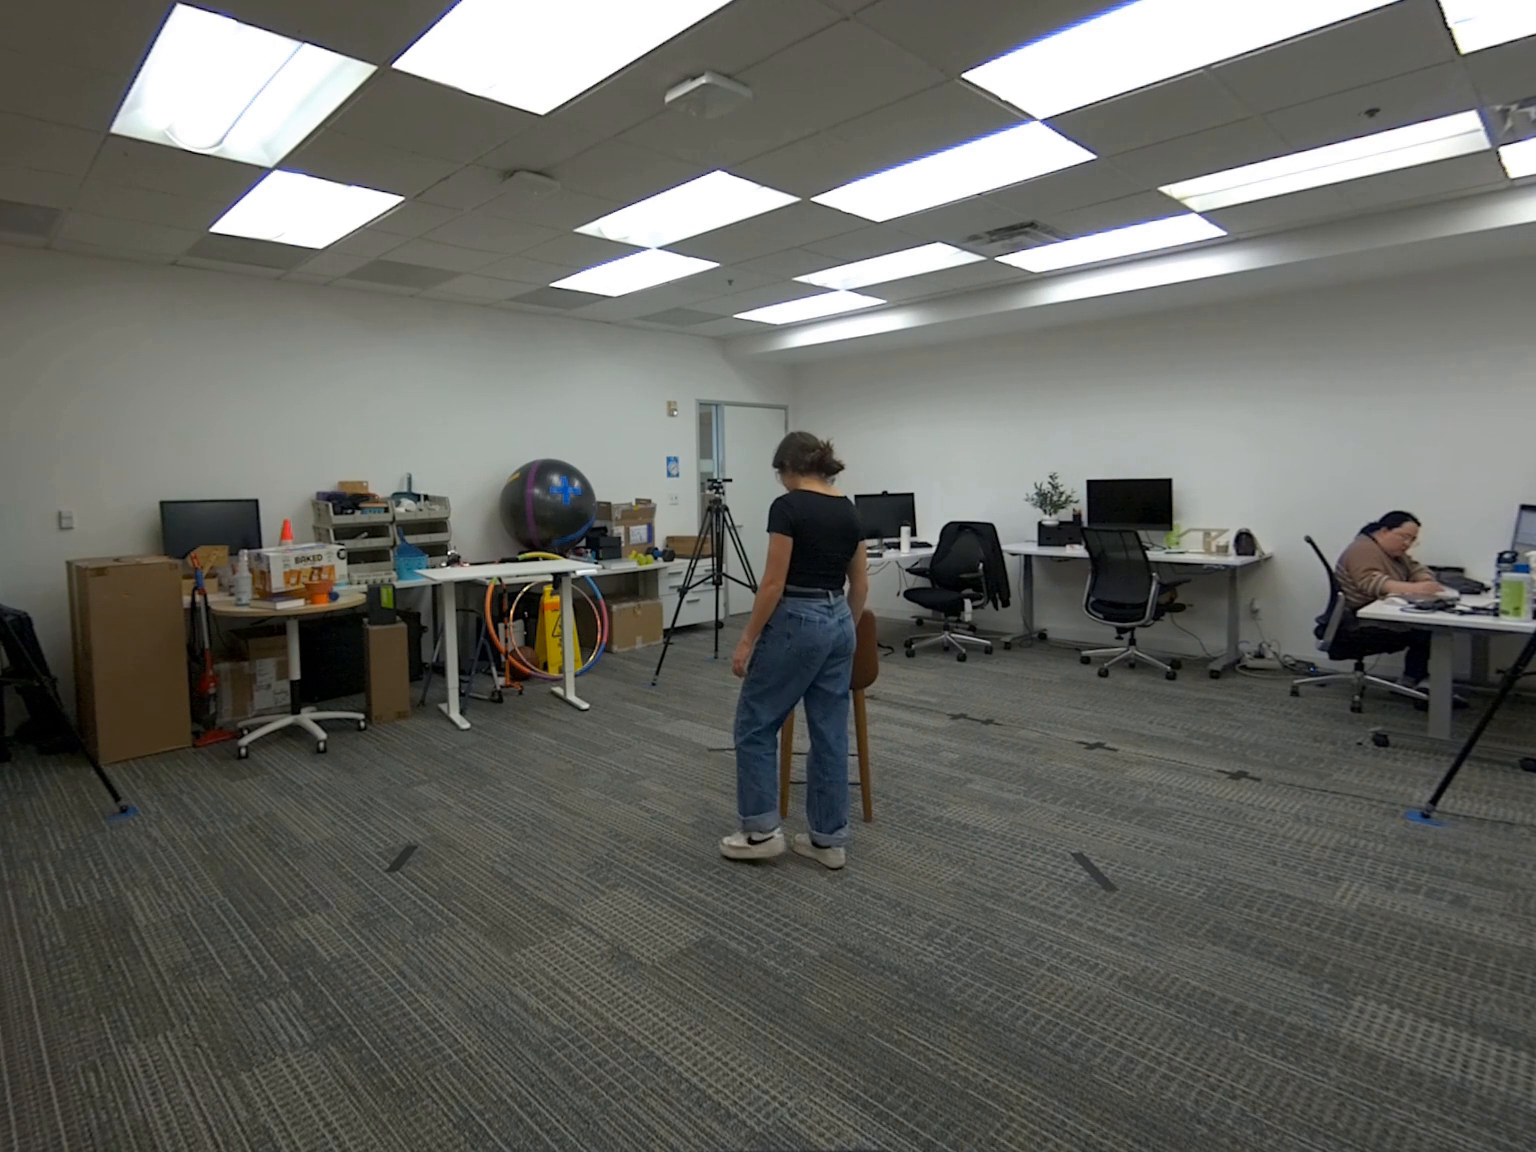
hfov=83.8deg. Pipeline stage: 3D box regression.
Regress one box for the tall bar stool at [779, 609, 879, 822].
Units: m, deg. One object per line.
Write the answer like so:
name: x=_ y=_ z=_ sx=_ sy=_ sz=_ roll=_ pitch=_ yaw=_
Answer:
tall bar stool: x=0.246 y=0.538 z=3.674 sx=0.459 sy=0.885 sz=0.467 roll=0 pitch=6 yaw=5
